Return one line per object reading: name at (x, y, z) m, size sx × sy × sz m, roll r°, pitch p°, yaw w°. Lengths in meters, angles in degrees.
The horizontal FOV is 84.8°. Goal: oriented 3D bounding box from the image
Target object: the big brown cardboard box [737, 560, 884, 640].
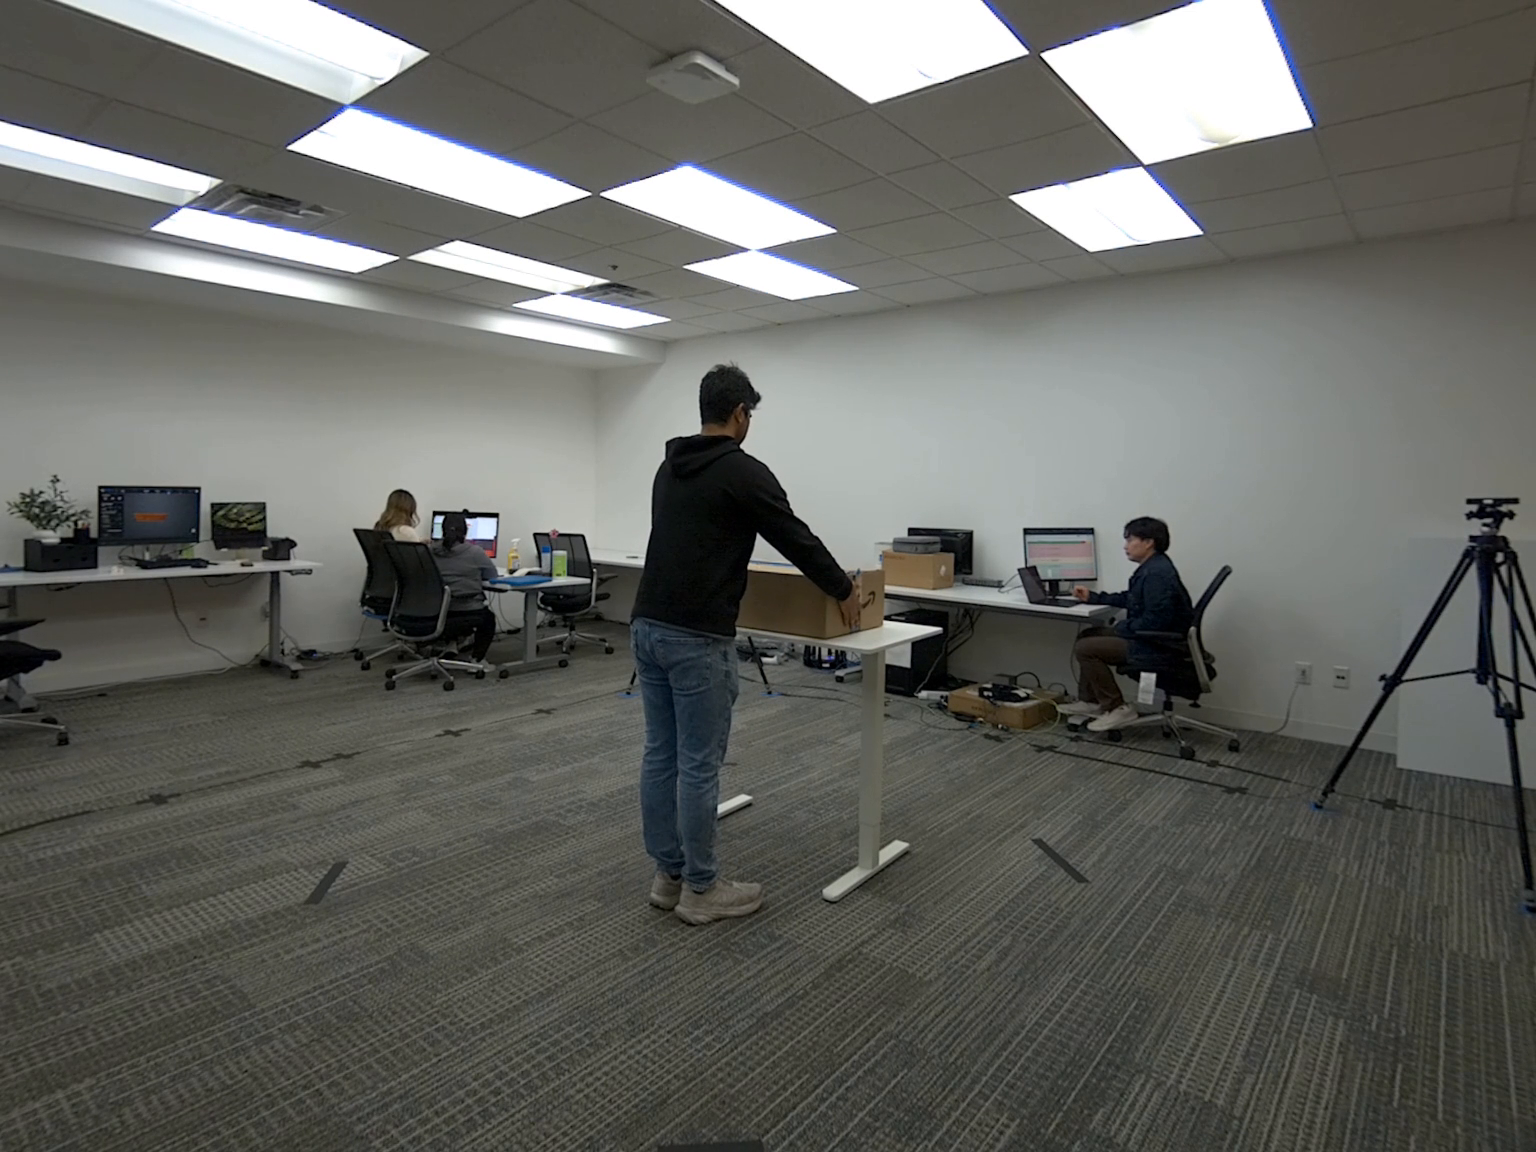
big brown cardboard box at (0.074, 0.062, 3.214) m, size 0.609 × 0.232 × 0.406 m, roll 6°, pitch 8°, yaw 37°
